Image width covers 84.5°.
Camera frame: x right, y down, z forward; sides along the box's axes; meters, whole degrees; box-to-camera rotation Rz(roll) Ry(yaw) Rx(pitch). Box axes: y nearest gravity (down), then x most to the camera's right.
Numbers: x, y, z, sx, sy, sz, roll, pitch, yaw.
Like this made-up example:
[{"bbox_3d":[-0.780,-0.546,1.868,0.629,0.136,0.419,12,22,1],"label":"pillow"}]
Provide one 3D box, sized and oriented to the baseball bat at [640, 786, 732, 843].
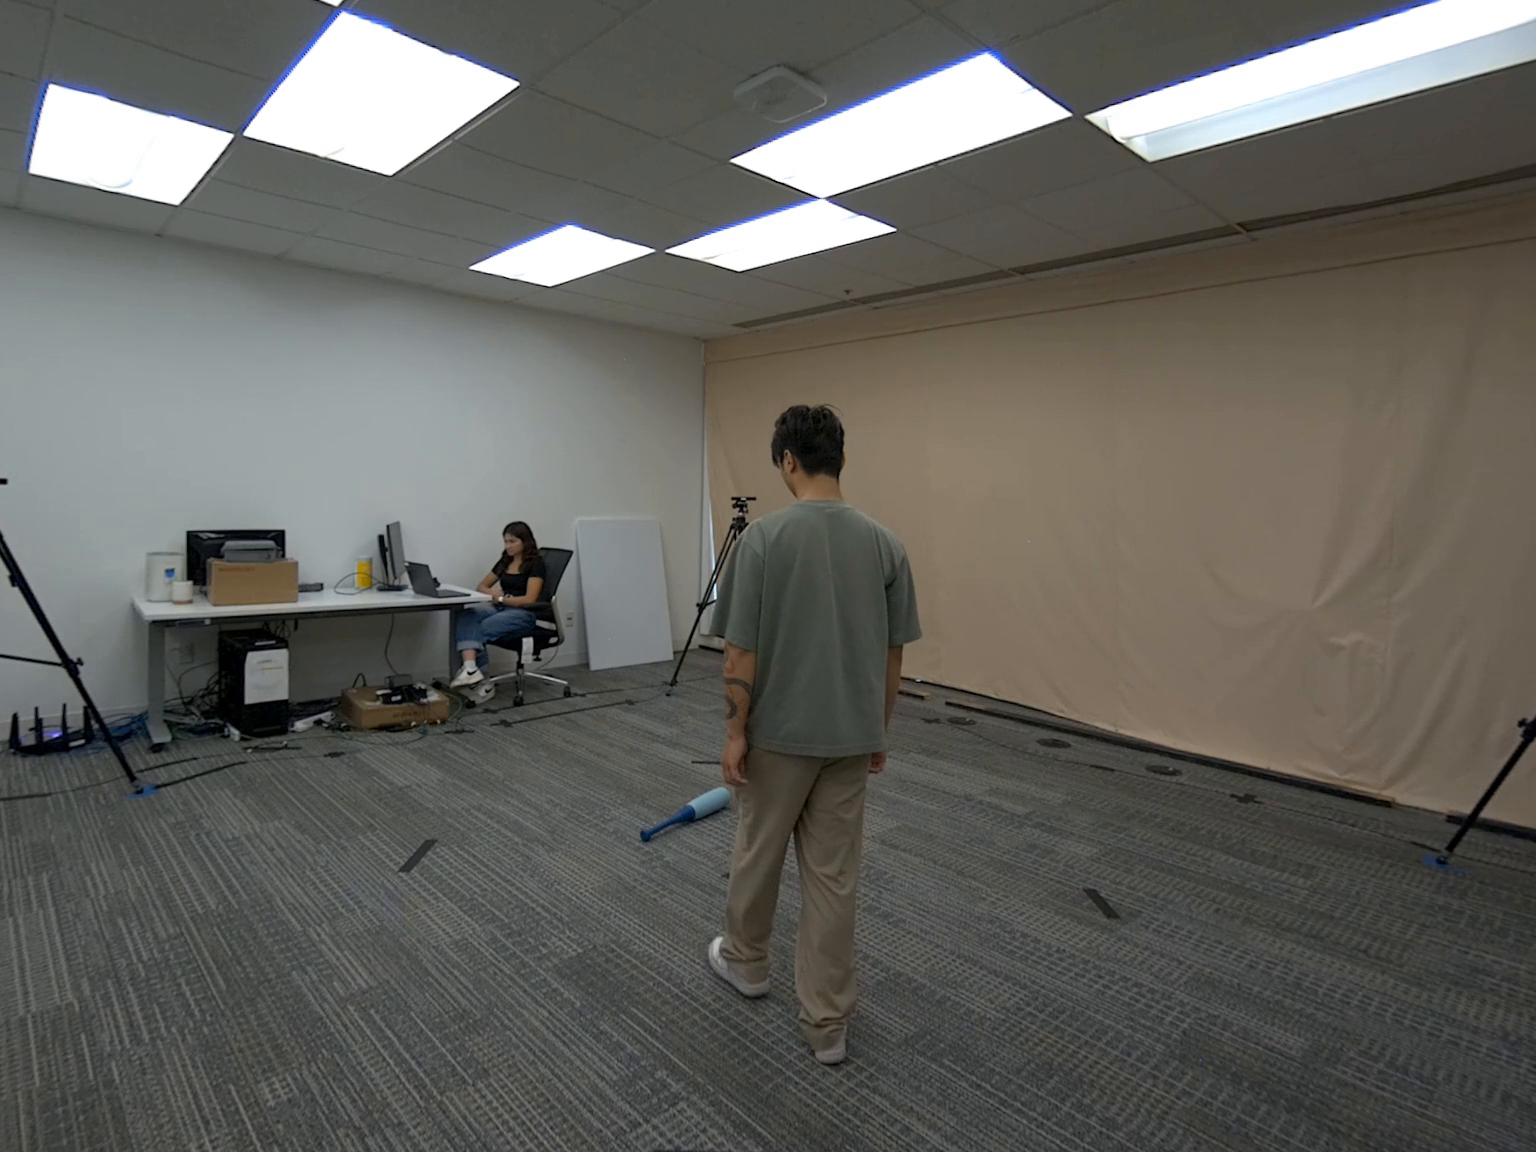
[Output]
[{"bbox_3d":[-0.358,1.023,3.609,0.091,0.089,0.532,4,8,35],"label":"baseball bat"}]
